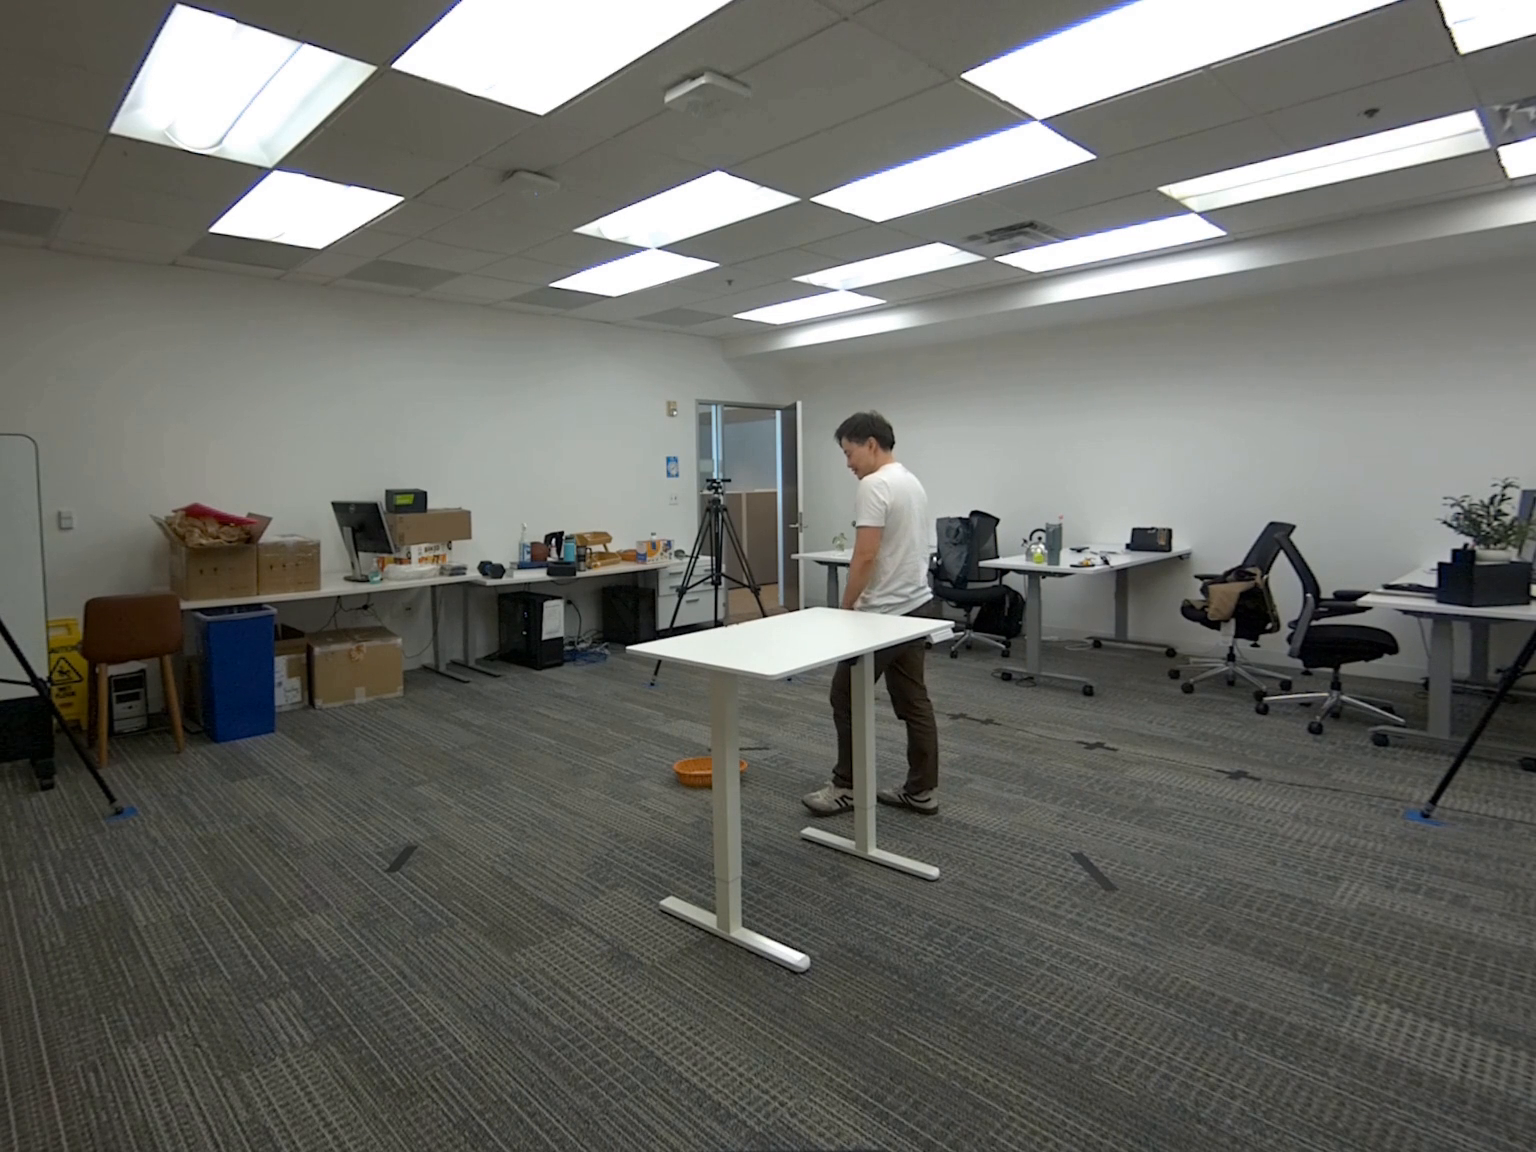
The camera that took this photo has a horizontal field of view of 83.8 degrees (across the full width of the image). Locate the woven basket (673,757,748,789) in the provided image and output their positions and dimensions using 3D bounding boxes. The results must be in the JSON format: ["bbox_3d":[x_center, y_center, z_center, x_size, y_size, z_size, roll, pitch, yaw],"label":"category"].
[{"bbox_3d":[-0.269,0.912,3.986,0.351,0.073,0.253,-1,5,0],"label":"woven basket"}]
